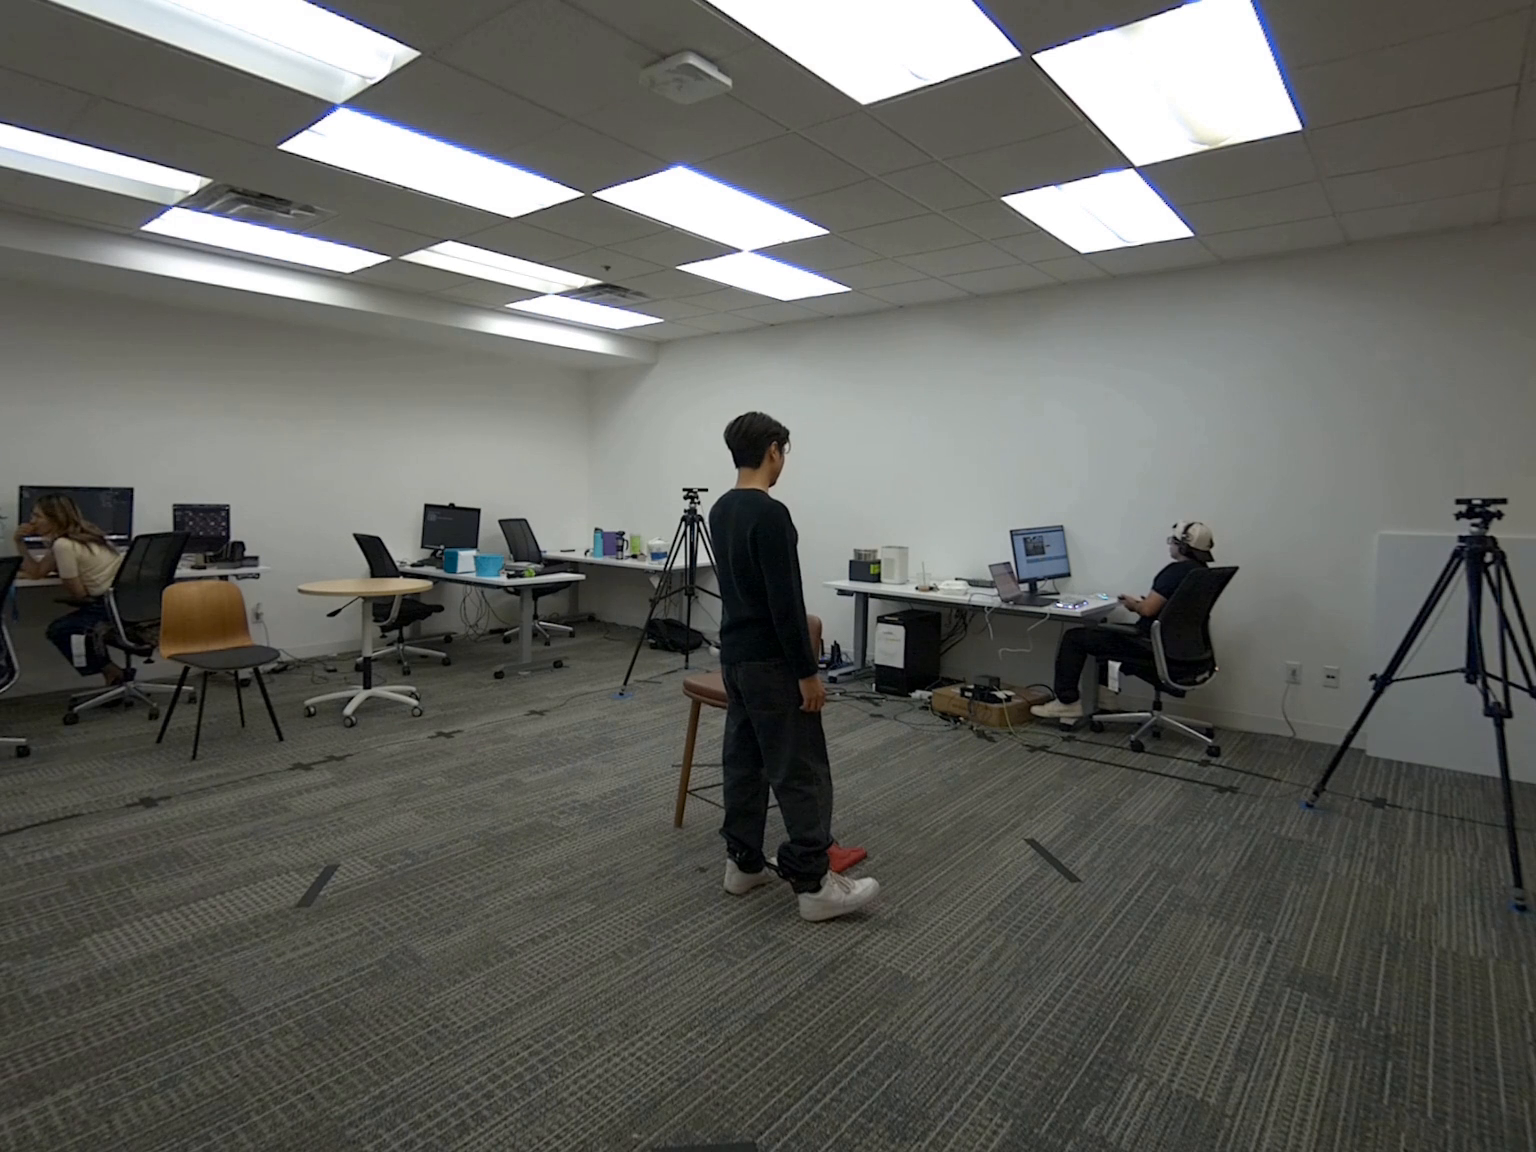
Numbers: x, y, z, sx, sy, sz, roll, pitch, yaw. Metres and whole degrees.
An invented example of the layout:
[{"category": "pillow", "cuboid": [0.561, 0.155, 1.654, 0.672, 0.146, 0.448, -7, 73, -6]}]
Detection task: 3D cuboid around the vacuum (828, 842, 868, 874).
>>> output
[{"category": "vacuum", "cuboid": [0.144, 0.556, 3.291, 0.147, 1.060, 0.245, -18, -11, 40]}]
